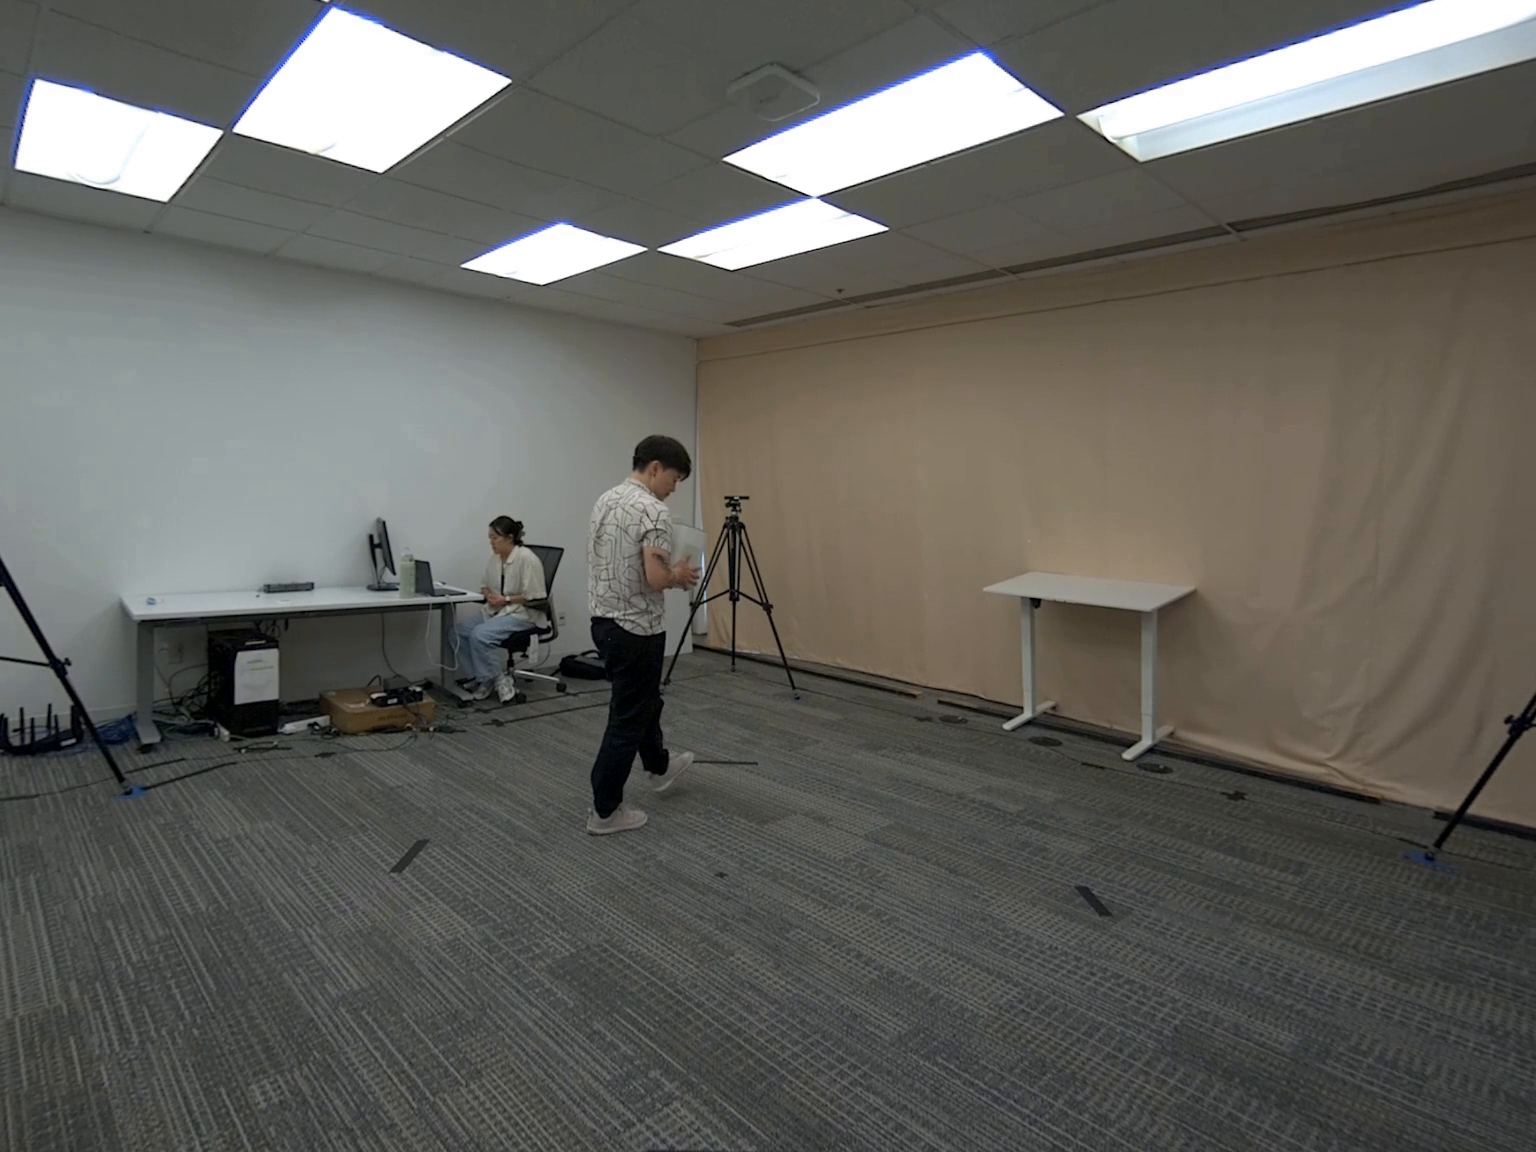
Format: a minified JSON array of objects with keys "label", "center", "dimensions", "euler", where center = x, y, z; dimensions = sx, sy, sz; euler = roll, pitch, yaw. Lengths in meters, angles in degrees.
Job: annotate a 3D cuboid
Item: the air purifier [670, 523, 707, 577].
[{"label":"air purifier","center":[-0.418,-0.086,3.670],"dimensions":[0.166,0.266,0.176],"euler":[18,-7,-36]}]
